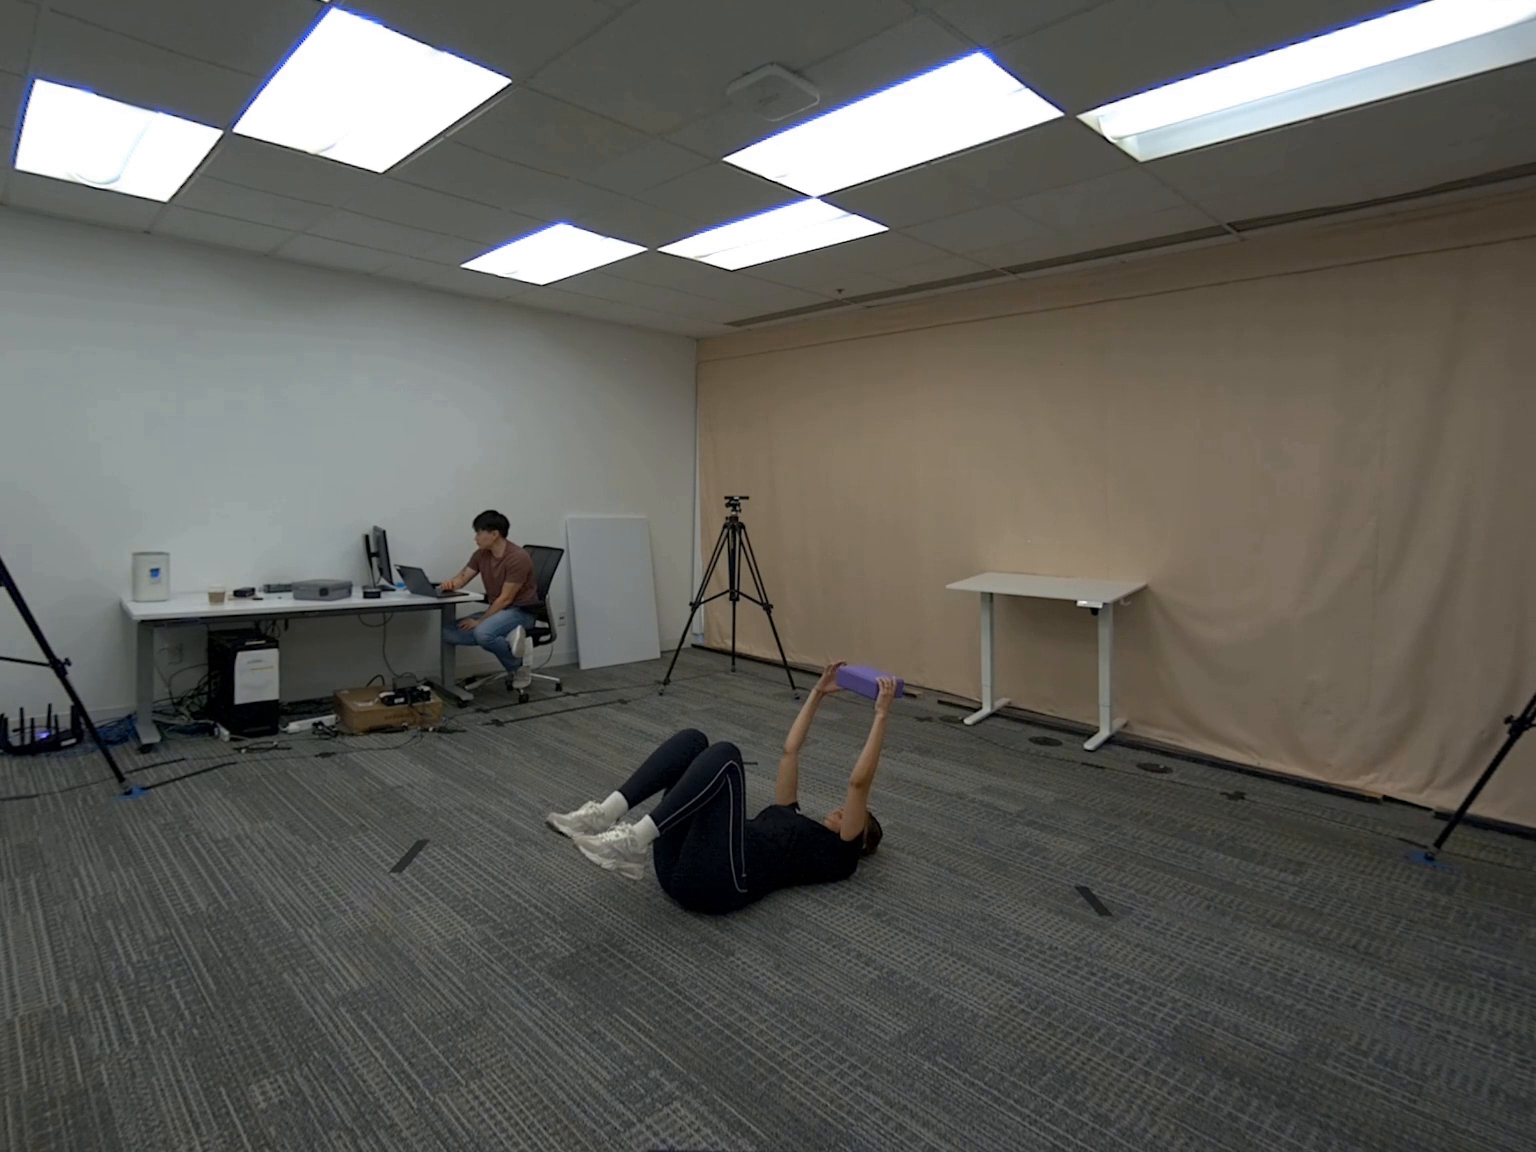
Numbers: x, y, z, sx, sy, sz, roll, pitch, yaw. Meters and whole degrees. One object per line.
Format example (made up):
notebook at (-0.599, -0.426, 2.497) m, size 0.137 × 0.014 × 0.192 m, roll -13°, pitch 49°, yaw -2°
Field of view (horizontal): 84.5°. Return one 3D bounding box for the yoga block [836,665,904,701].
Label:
yoga block at (0.383, 0.410, 3.260) m, size 0.145 × 0.076 × 0.235 m, roll 0°, pitch 9°, yaw -36°
